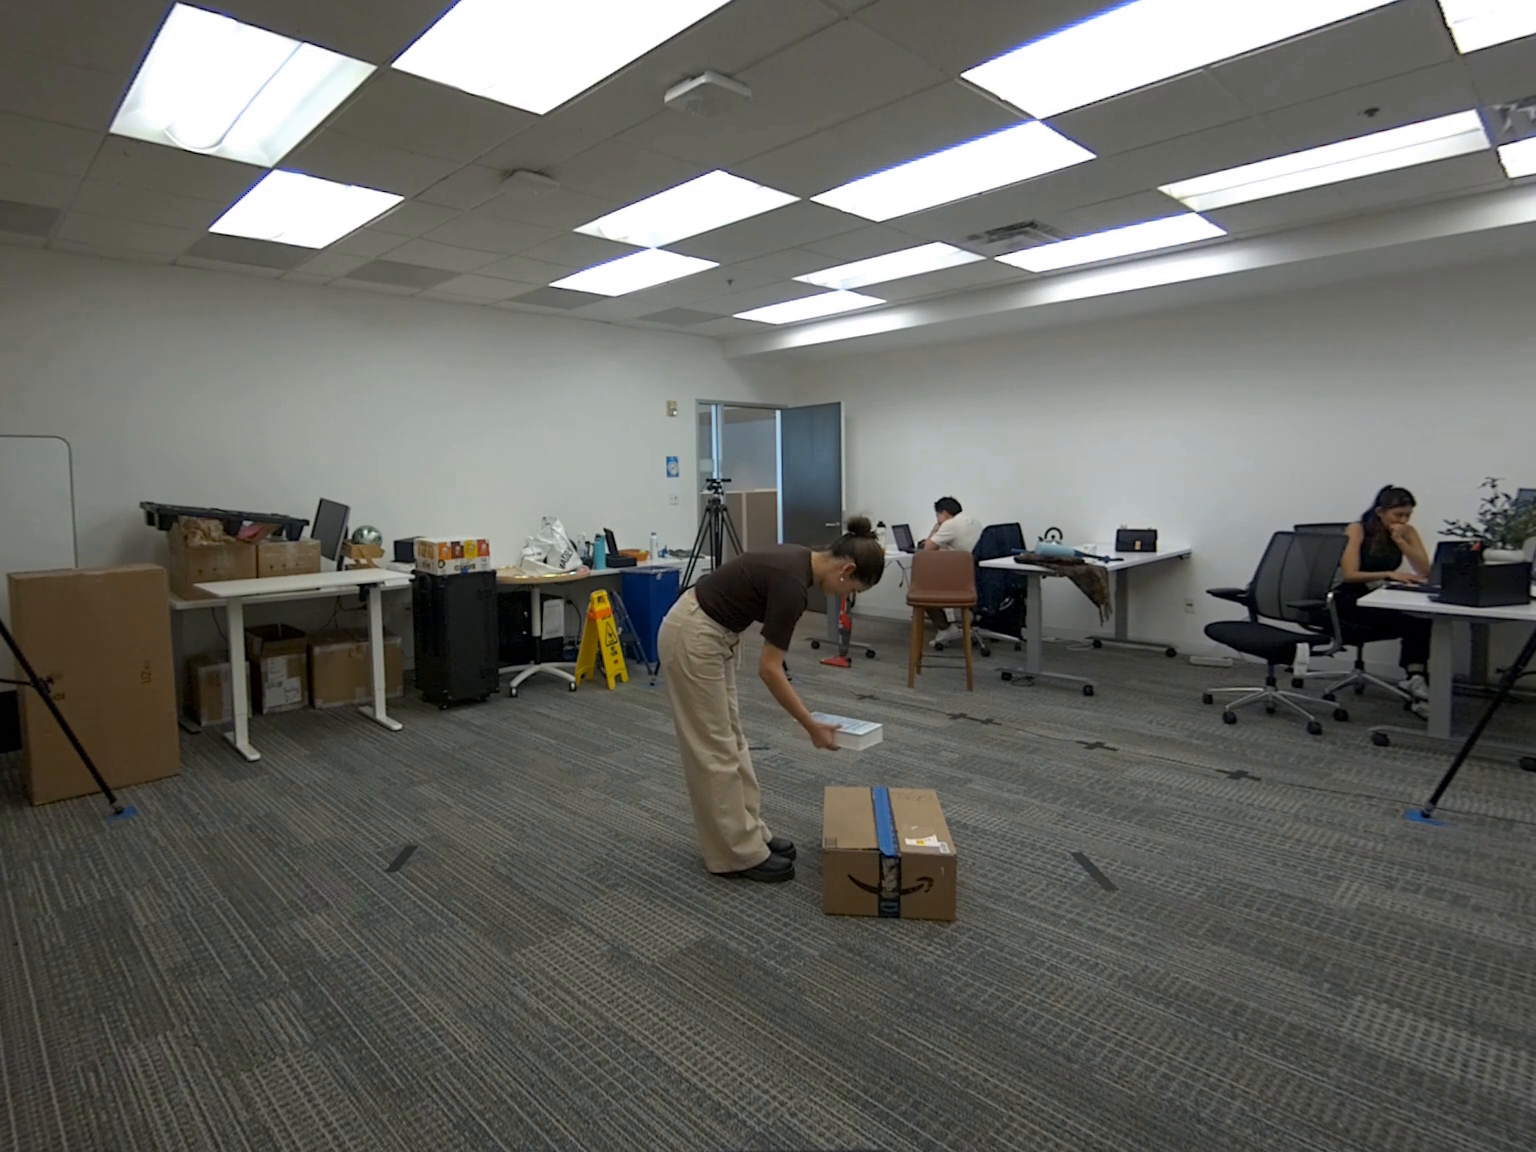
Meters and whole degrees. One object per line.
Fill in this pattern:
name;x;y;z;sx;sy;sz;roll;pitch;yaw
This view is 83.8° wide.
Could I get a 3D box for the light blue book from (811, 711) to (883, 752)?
light blue book;0.237;0.526;2.937;0.268;0.059;0.186;5;5;33
